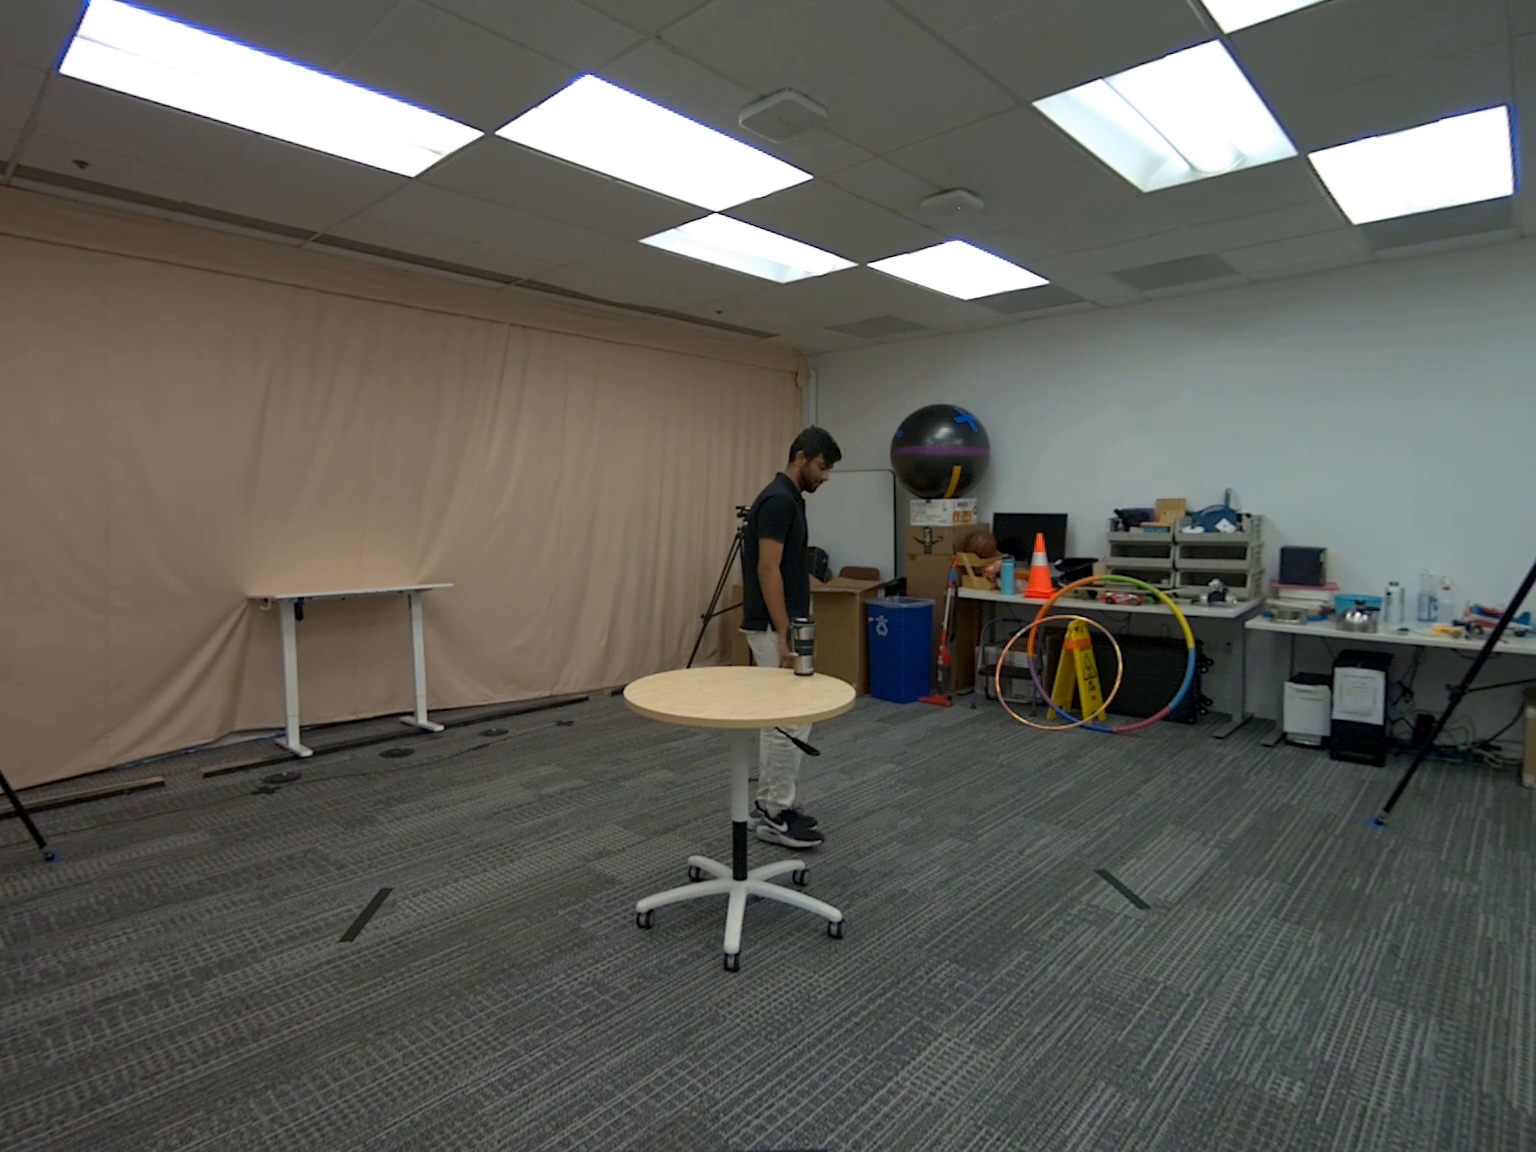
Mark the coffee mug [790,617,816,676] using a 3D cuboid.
[{"bbox_3d":[0.110,0.251,3.038,0.126,0.202,0.085,6,12,41],"label":"coffee mug"}]
